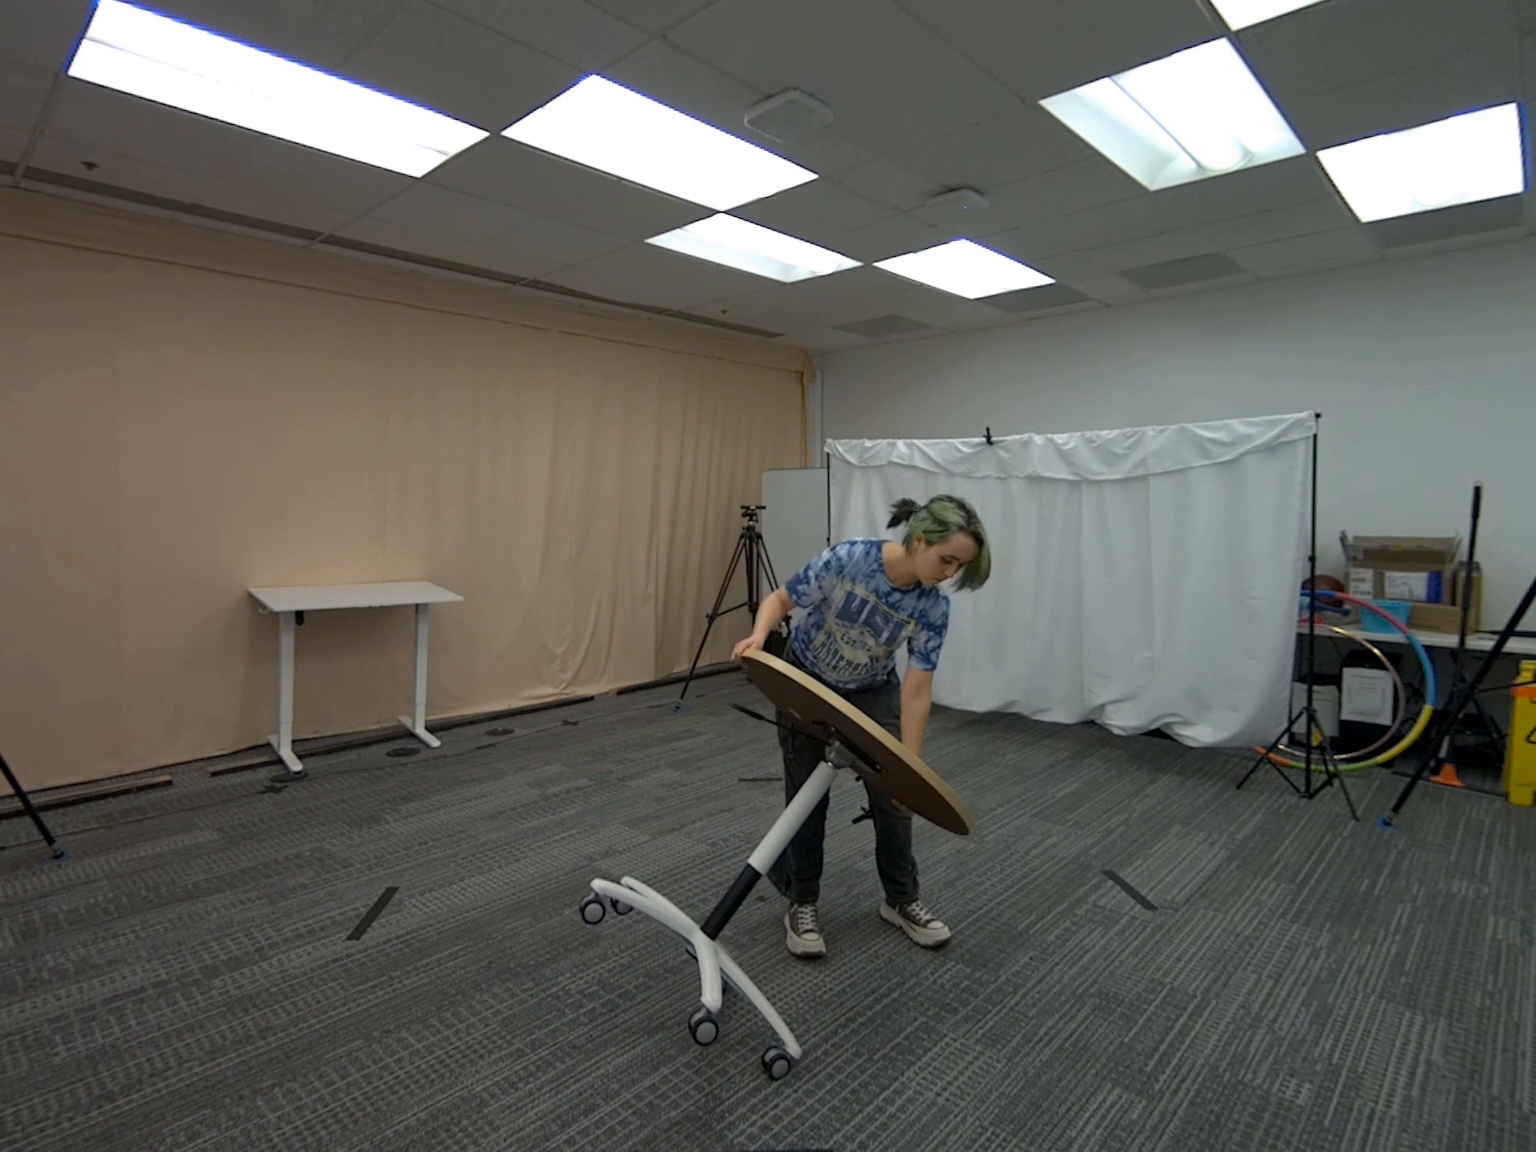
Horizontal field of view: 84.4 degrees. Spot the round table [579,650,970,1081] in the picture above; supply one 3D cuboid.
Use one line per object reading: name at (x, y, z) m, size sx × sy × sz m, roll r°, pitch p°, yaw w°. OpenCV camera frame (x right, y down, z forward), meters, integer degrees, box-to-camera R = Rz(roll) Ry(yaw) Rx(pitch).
round table at (-0.005, 0.746, 2.236) m, size 0.773 × 0.792 × 0.757 m, roll 37°, pitch -13°, yaw 8°
